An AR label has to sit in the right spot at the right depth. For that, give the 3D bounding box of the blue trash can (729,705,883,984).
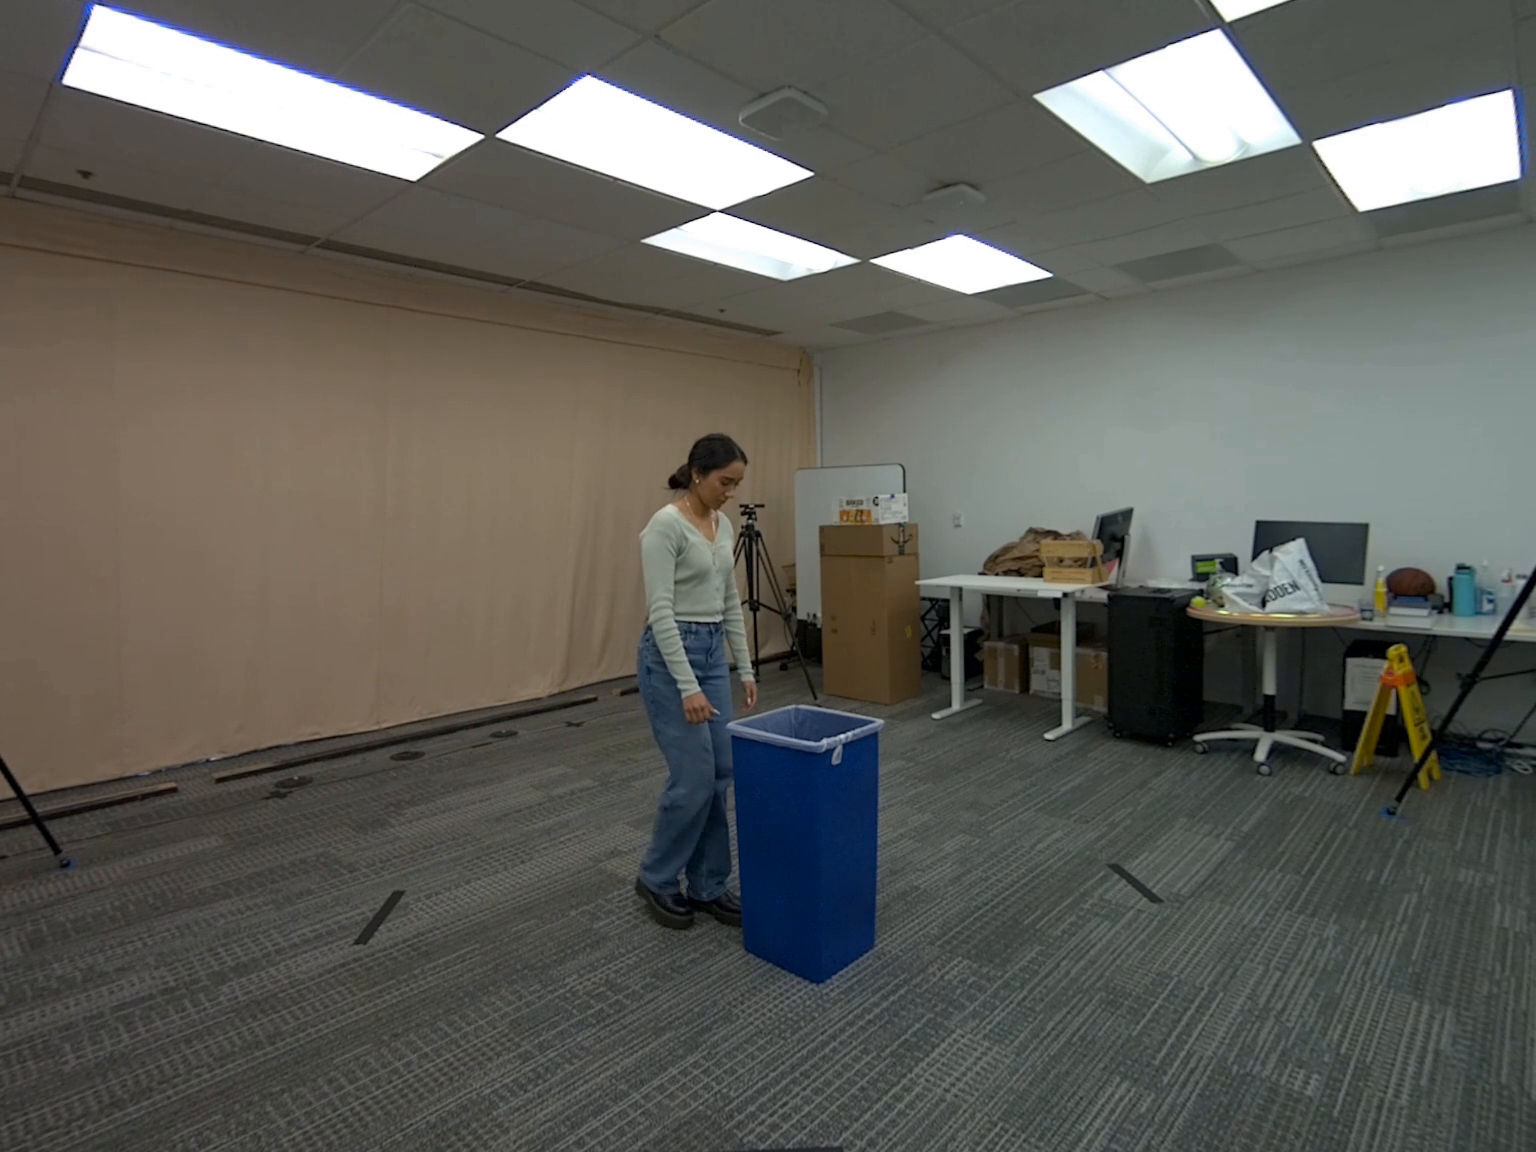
[{"bbox_3d":[0.120,0.811,2.623,0.386,0.712,0.366,2,4,41],"label":"blue trash can"}]
